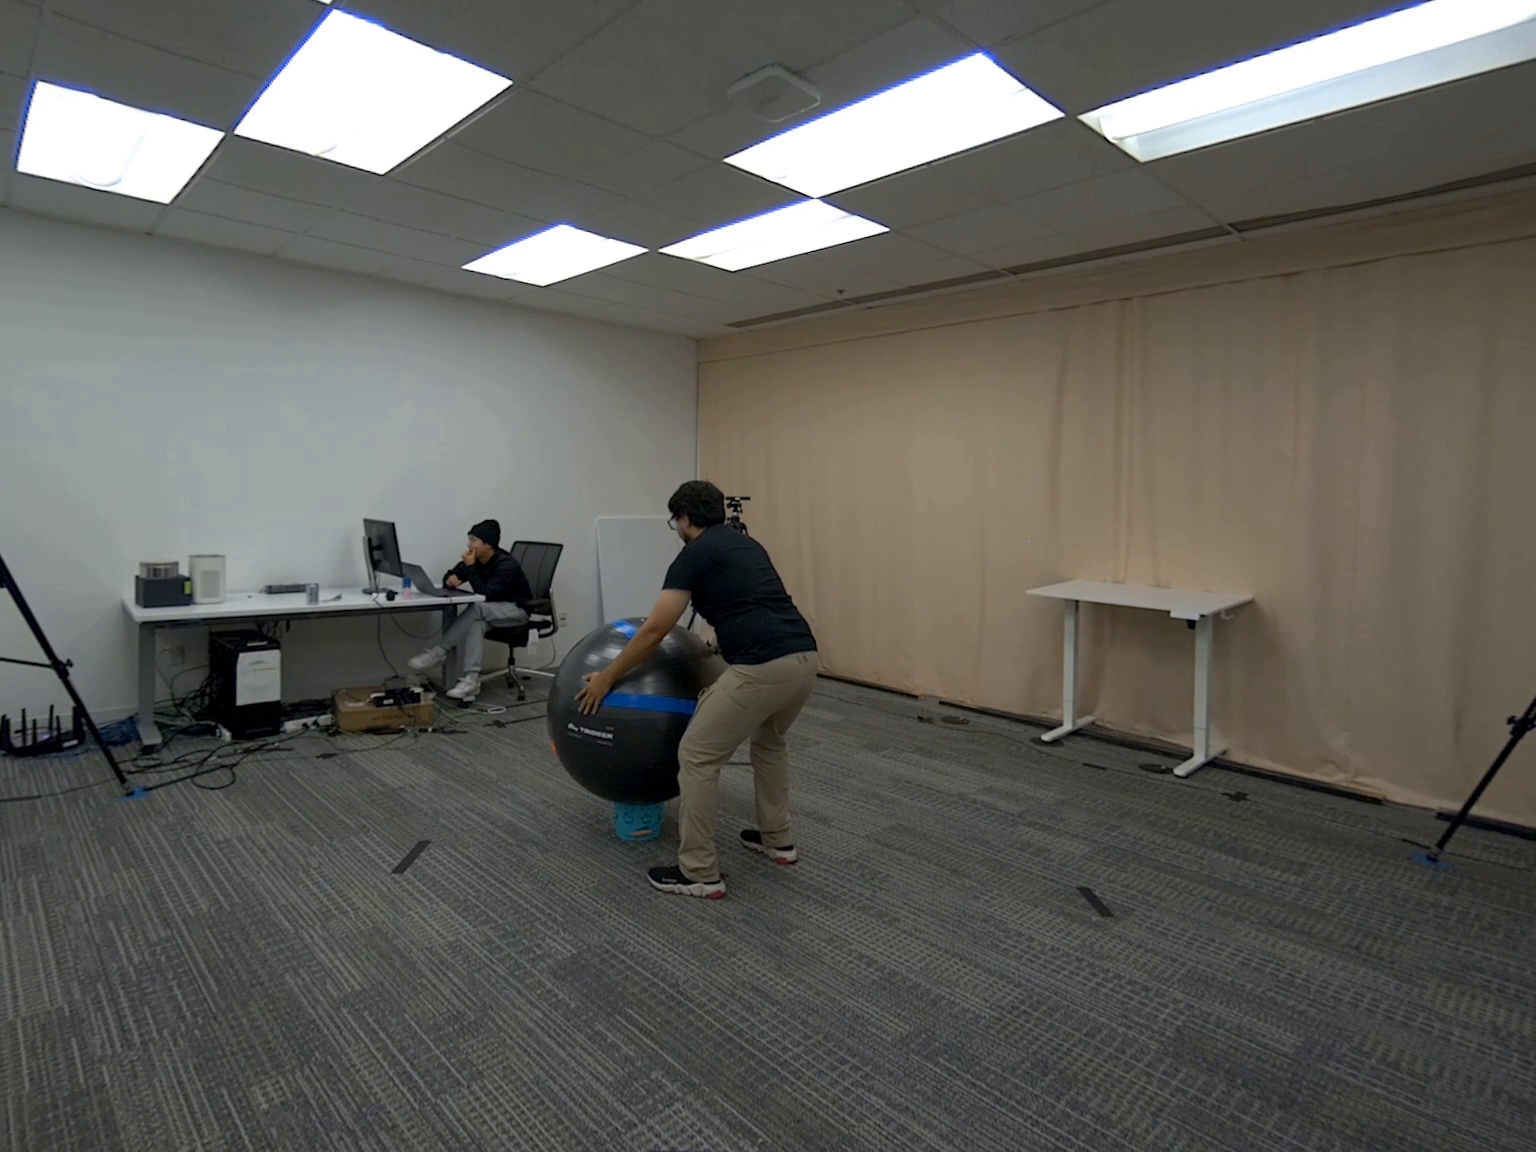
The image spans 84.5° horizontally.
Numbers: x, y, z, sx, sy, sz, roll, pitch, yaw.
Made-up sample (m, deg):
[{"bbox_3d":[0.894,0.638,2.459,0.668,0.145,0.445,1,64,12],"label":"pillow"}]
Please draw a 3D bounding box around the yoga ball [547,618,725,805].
[{"bbox_3d":[-0.531,0.550,3.469,0.757,0.756,0.761,1,4,-1],"label":"yoga ball"}]
